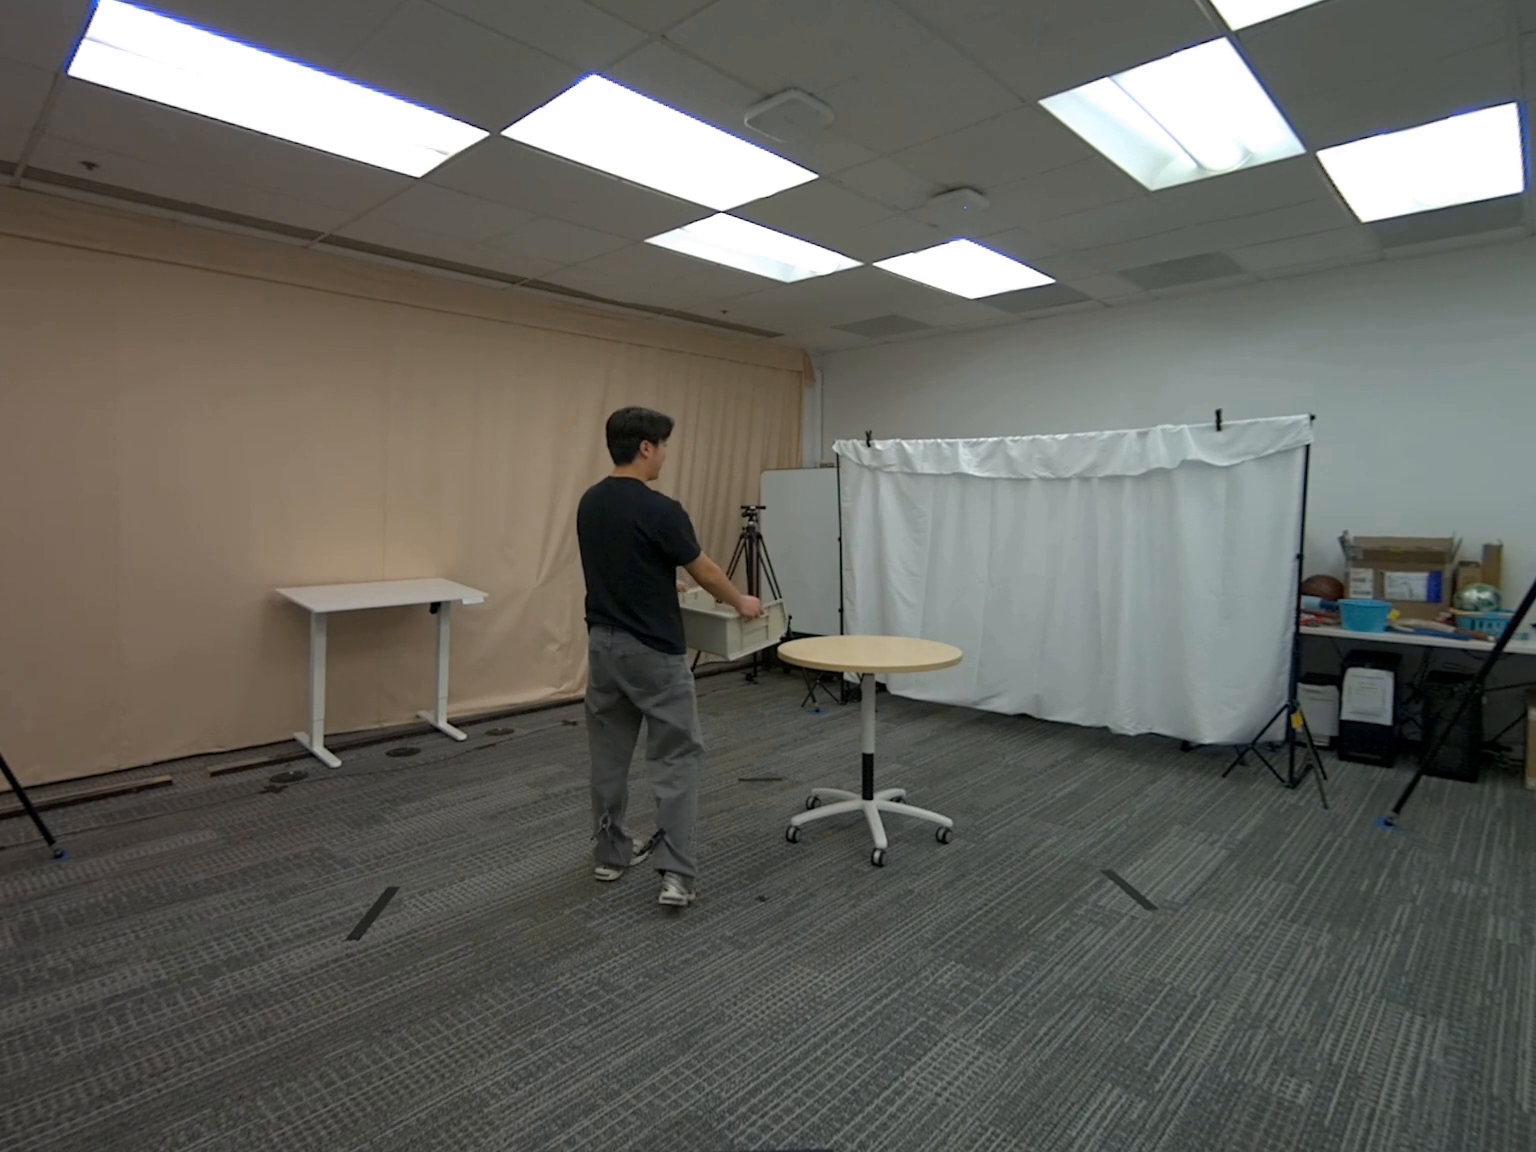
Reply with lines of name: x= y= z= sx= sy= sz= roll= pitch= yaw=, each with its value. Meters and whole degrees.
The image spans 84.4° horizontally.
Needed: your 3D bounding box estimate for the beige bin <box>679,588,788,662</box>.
beige bin: x=-0.197 y=0.186 z=3.458 sx=0.437 sy=0.187 sz=0.368 roll=10 pitch=18 yaw=39
